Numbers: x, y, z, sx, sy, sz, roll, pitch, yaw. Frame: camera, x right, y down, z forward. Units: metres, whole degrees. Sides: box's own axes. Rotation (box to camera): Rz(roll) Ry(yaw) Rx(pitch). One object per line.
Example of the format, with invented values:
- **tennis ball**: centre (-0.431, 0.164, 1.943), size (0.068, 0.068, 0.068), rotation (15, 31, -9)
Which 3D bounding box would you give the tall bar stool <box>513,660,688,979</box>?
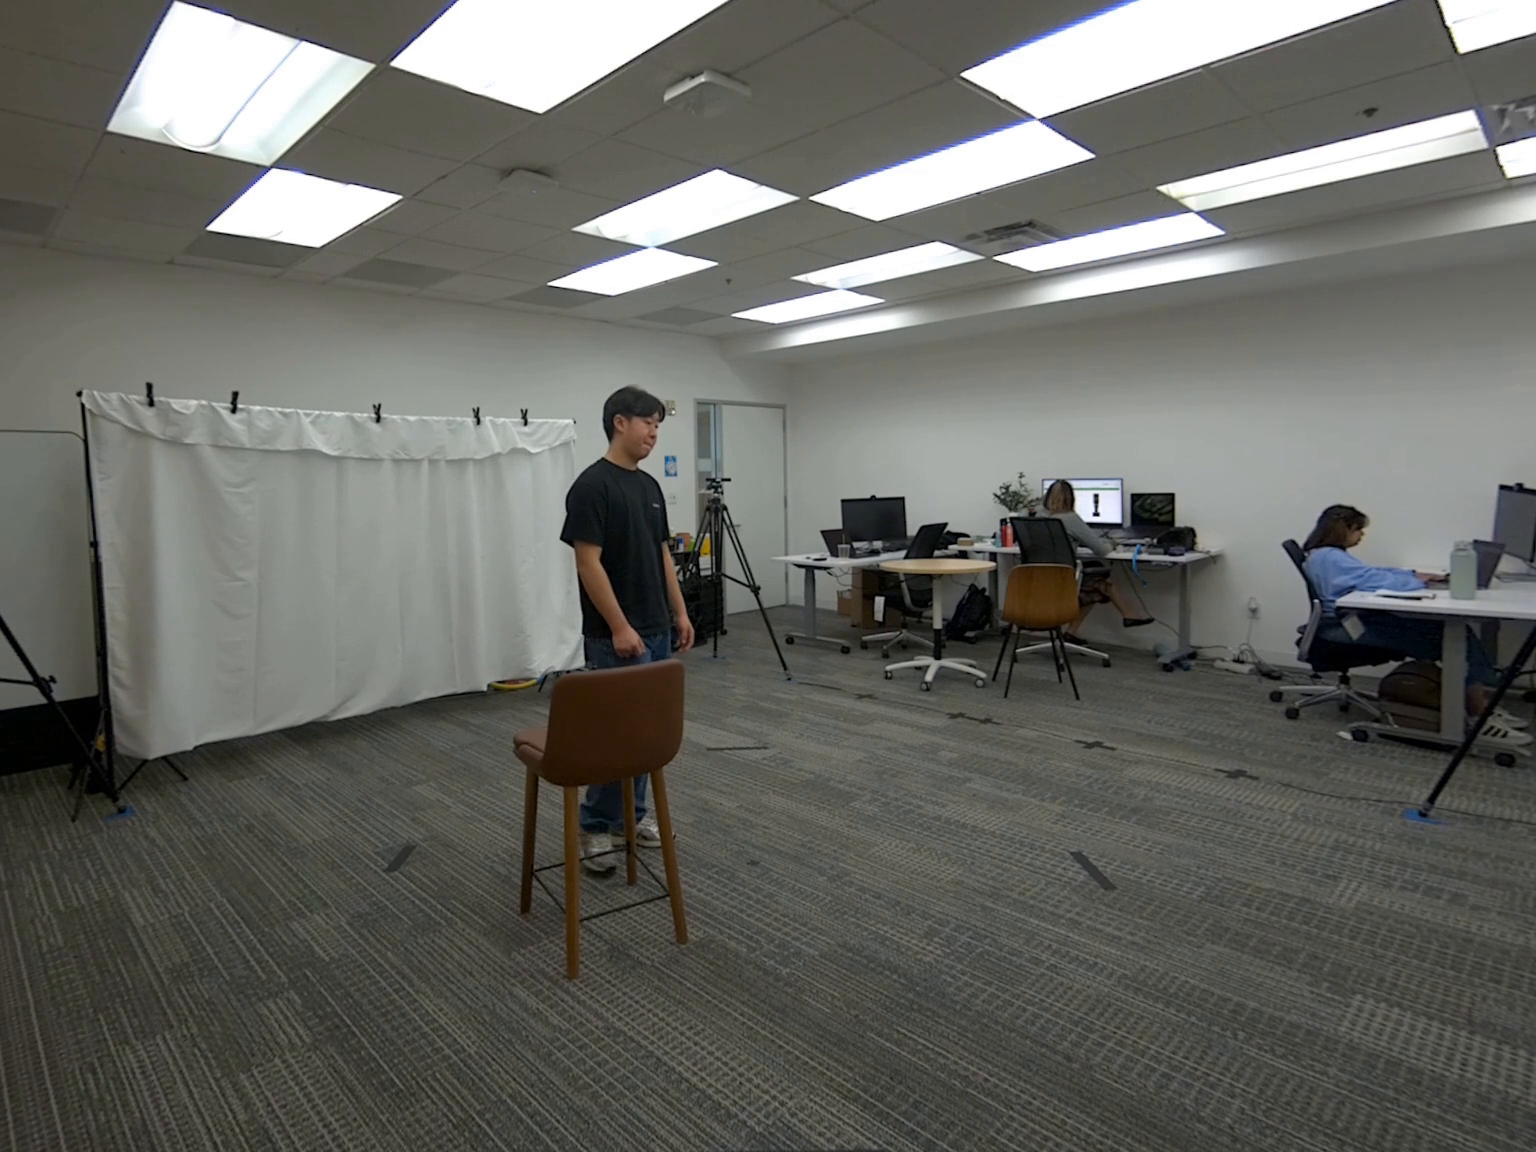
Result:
- **tall bar stool**: centre (-0.524, 0.670, 2.655), size (0.446, 0.885, 0.481), rotation (-4, 7, -30)
